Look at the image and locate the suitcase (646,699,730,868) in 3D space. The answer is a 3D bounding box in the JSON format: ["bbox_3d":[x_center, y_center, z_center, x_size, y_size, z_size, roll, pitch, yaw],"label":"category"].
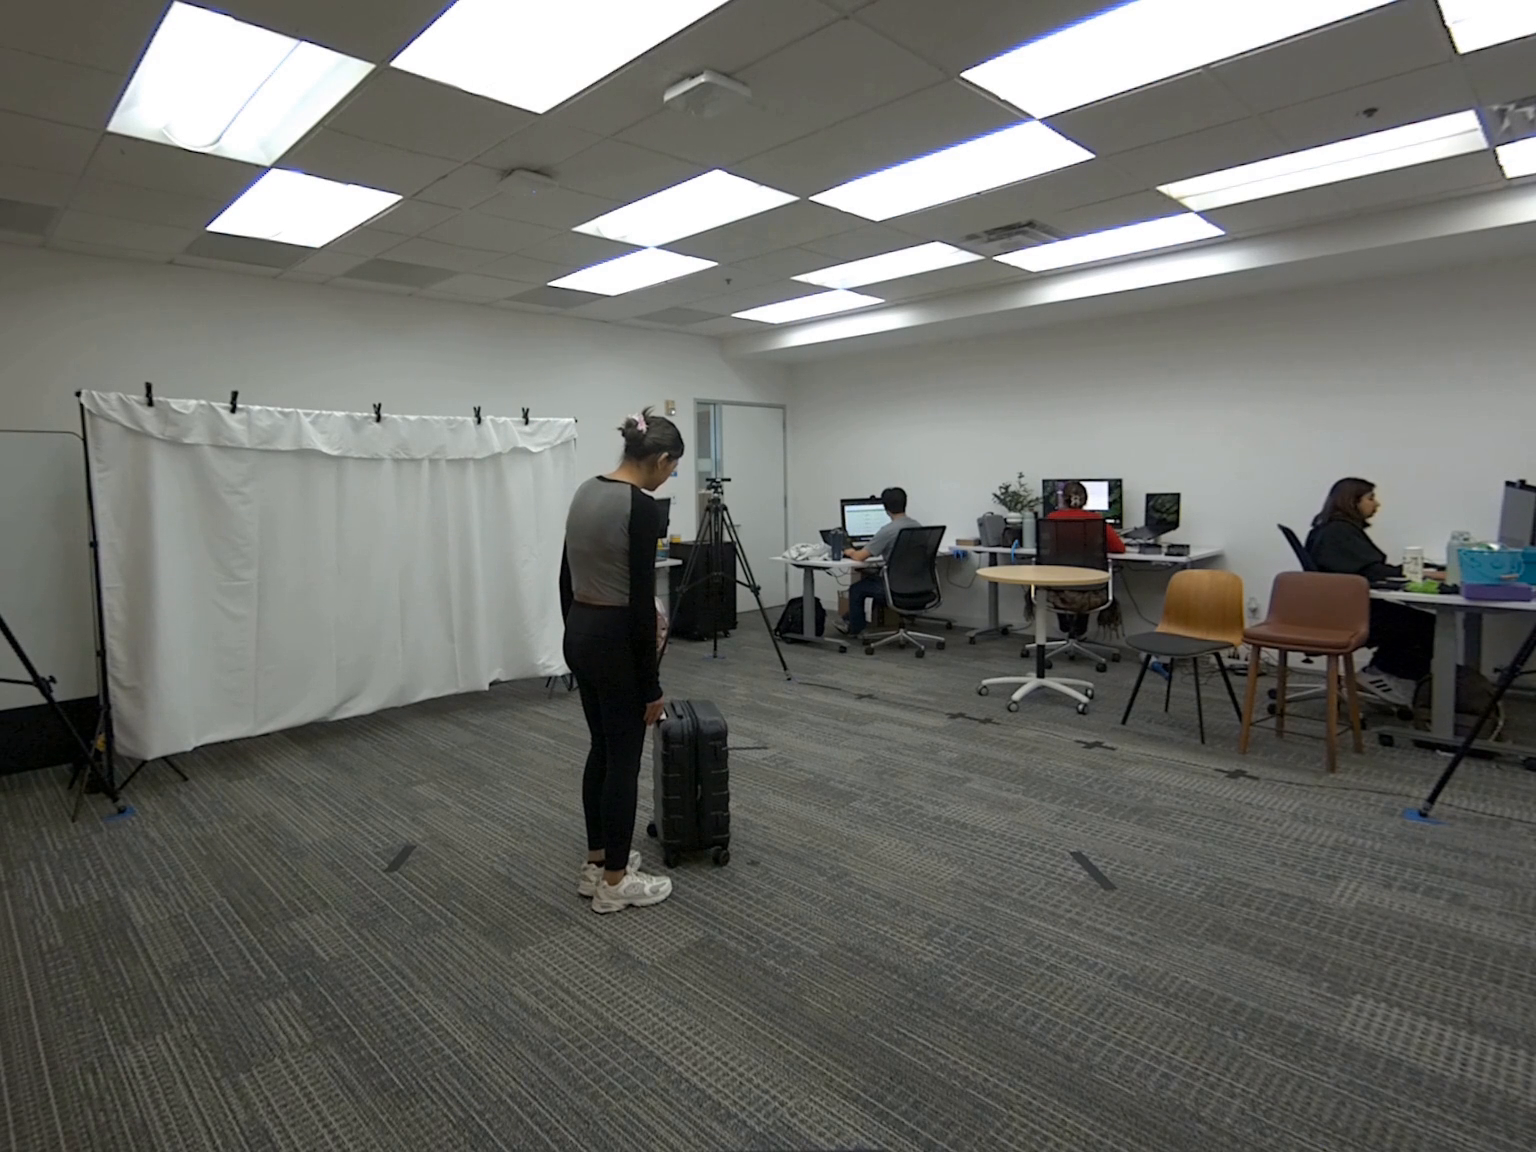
[{"bbox_3d":[-0.288,0.754,3.224,0.246,0.547,0.381,-1,4,-12],"label":"suitcase"}]
